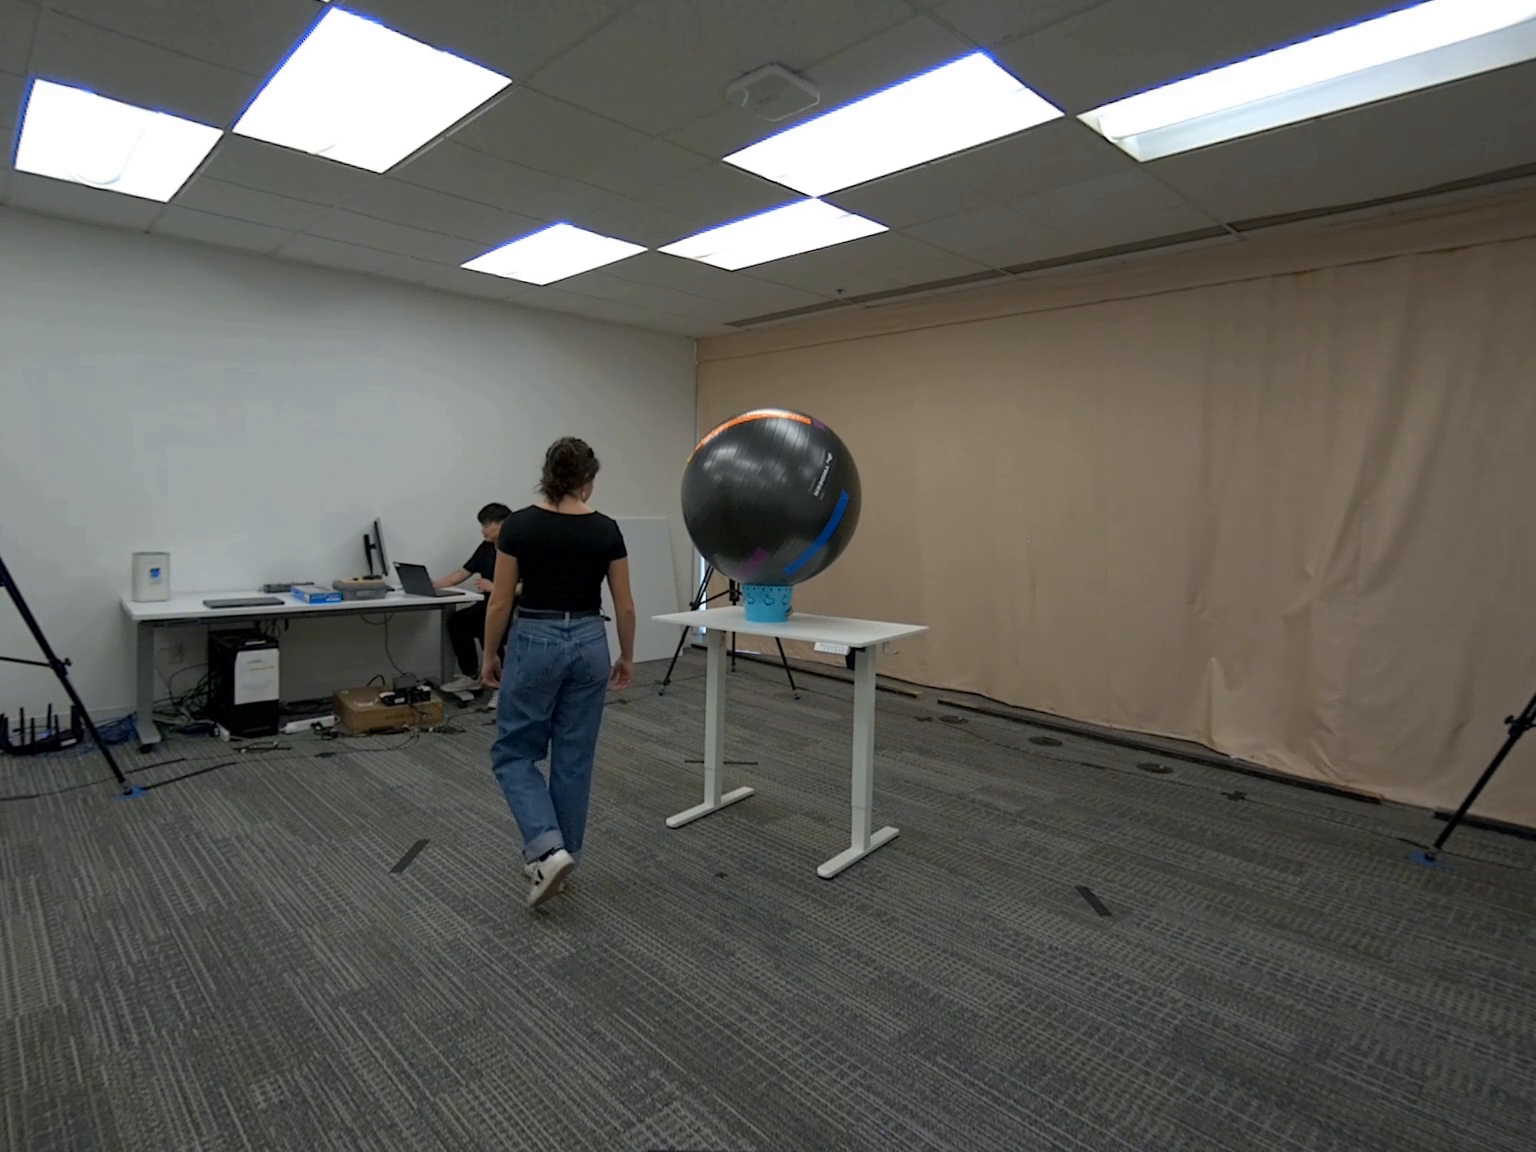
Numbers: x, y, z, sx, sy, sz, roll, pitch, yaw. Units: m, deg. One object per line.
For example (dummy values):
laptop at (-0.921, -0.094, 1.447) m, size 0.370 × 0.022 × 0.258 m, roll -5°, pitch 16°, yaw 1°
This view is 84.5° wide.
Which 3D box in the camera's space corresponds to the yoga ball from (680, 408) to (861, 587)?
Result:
yoga ball at (0.003, -0.322, 3.554) m, size 0.757 × 0.756 × 0.761 m, roll 1°, pitch 4°, yaw -1°
